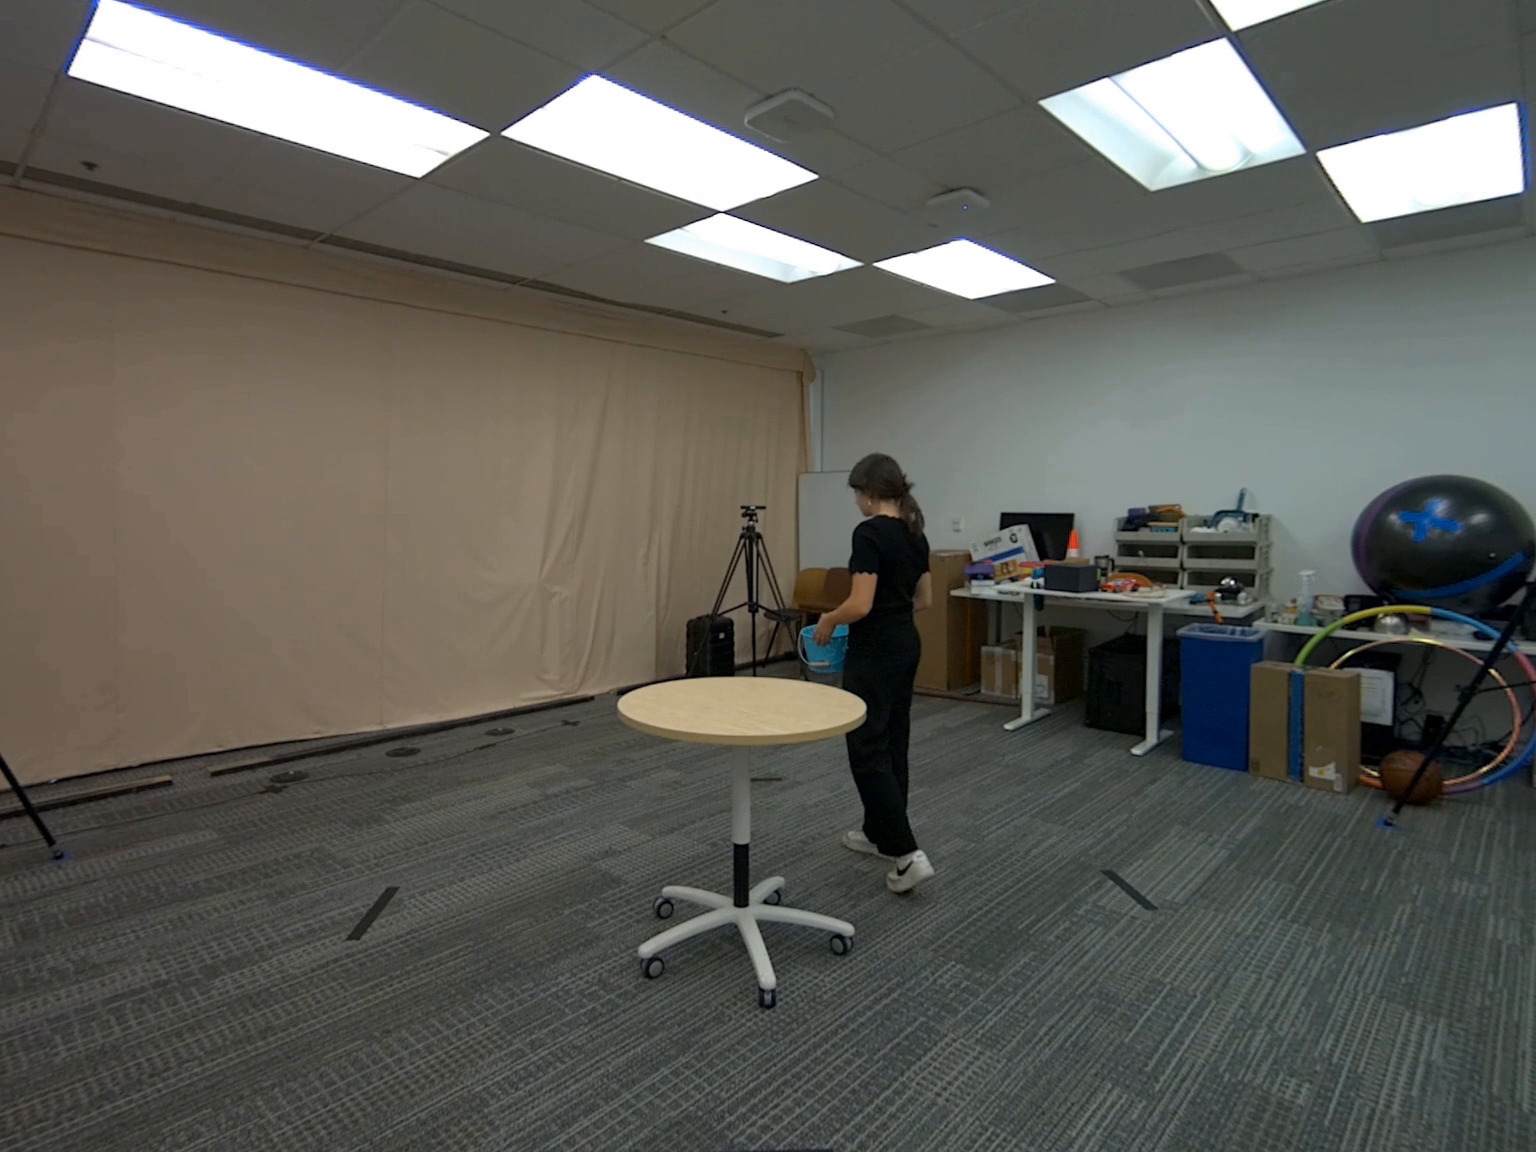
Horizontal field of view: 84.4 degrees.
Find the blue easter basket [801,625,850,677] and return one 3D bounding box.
[{"bbox_3d":[0.270,0.300,3.448,0.243,0.155,0.245,2,6,-2],"label":"blue easter basket"}]
